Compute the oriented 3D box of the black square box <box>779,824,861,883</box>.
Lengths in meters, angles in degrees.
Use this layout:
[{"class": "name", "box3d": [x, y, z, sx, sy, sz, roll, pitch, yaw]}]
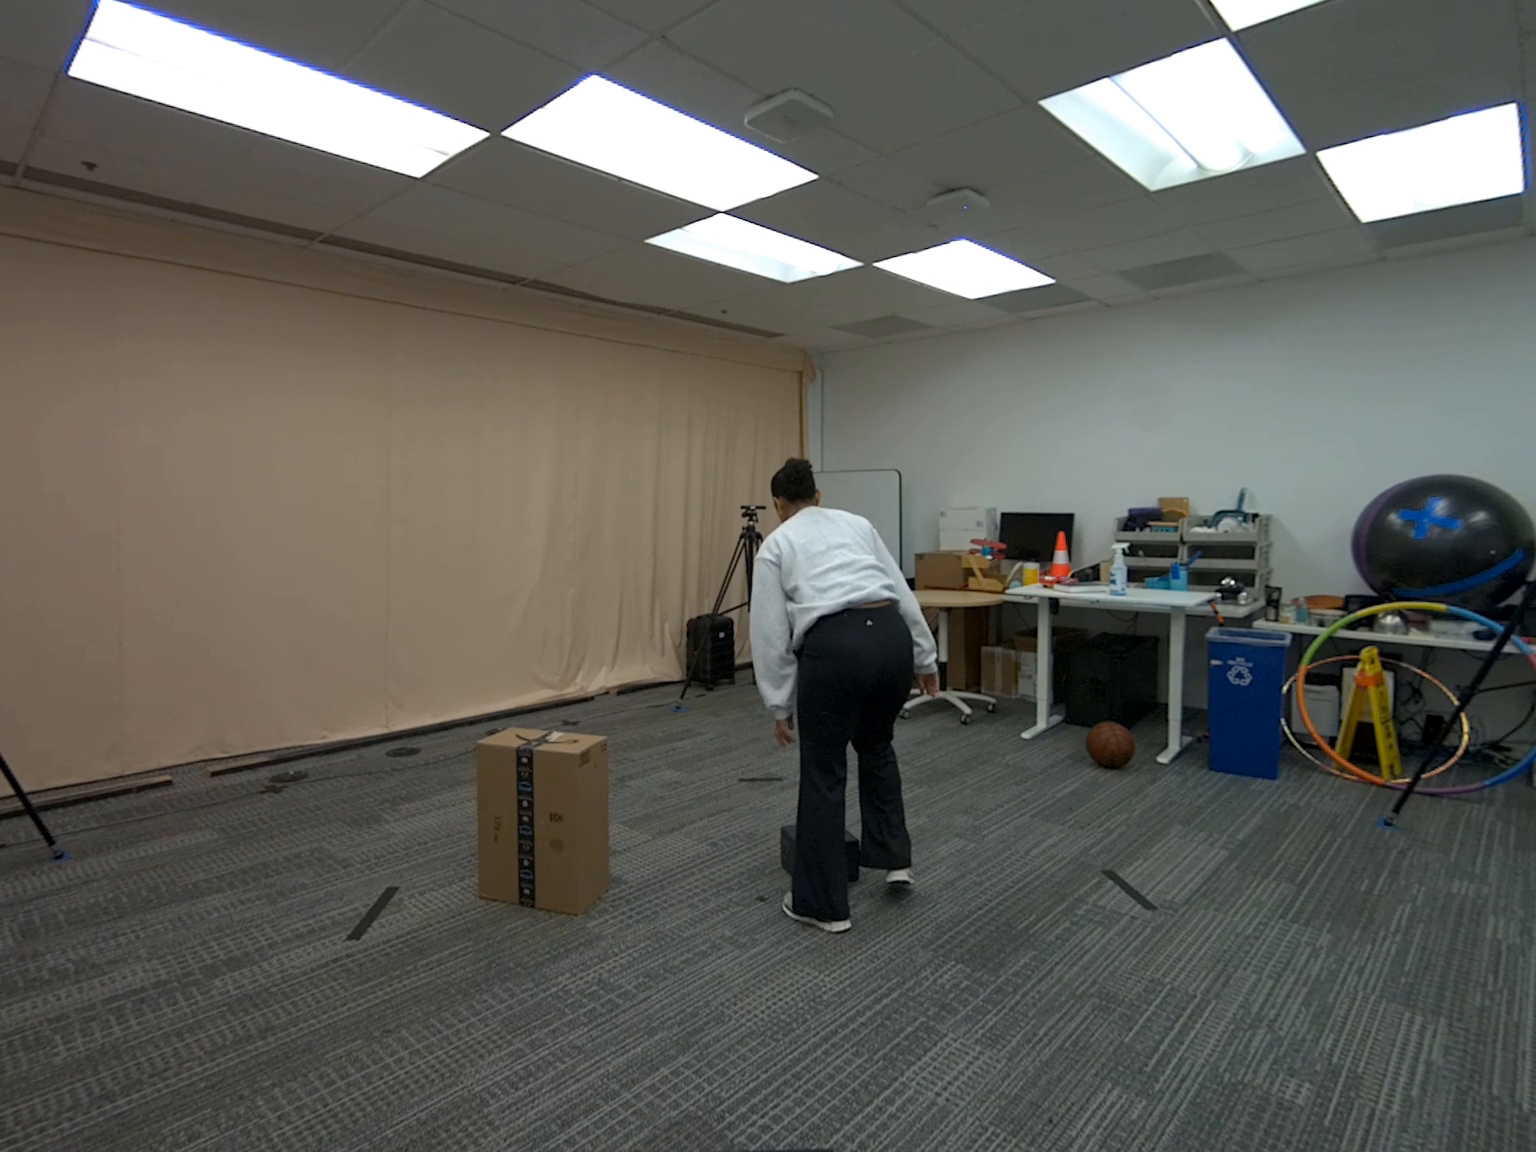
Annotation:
[{"class": "black square box", "box3d": [0.199, 1.043, 3.174, 0.223, 0.155, 0.222, -1, 5, -21]}]
